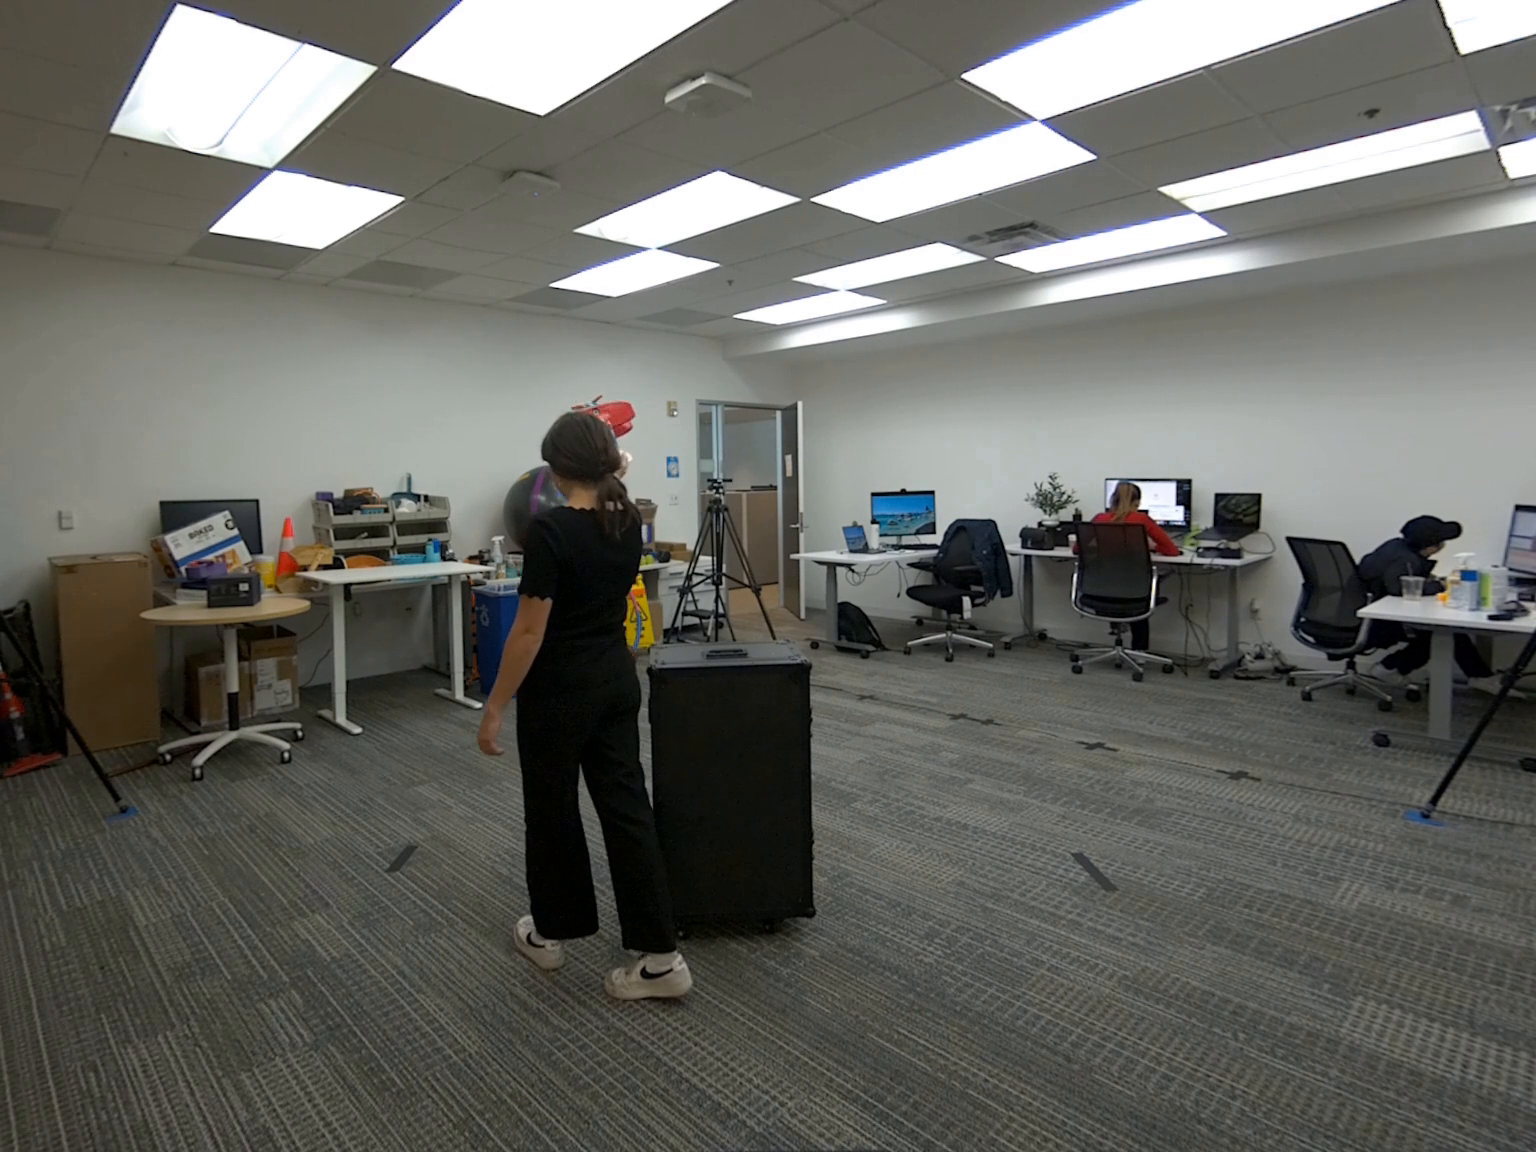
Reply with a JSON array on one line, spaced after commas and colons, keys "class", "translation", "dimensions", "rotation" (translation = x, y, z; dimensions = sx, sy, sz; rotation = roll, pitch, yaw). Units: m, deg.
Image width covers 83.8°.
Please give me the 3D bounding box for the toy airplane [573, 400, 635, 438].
[{"class": "toy airplane", "translation": [-0.546, -0.485, 2.912], "dimensions": [0.265, 0.153, 0.251], "rotation": [29, 54, 16]}]
